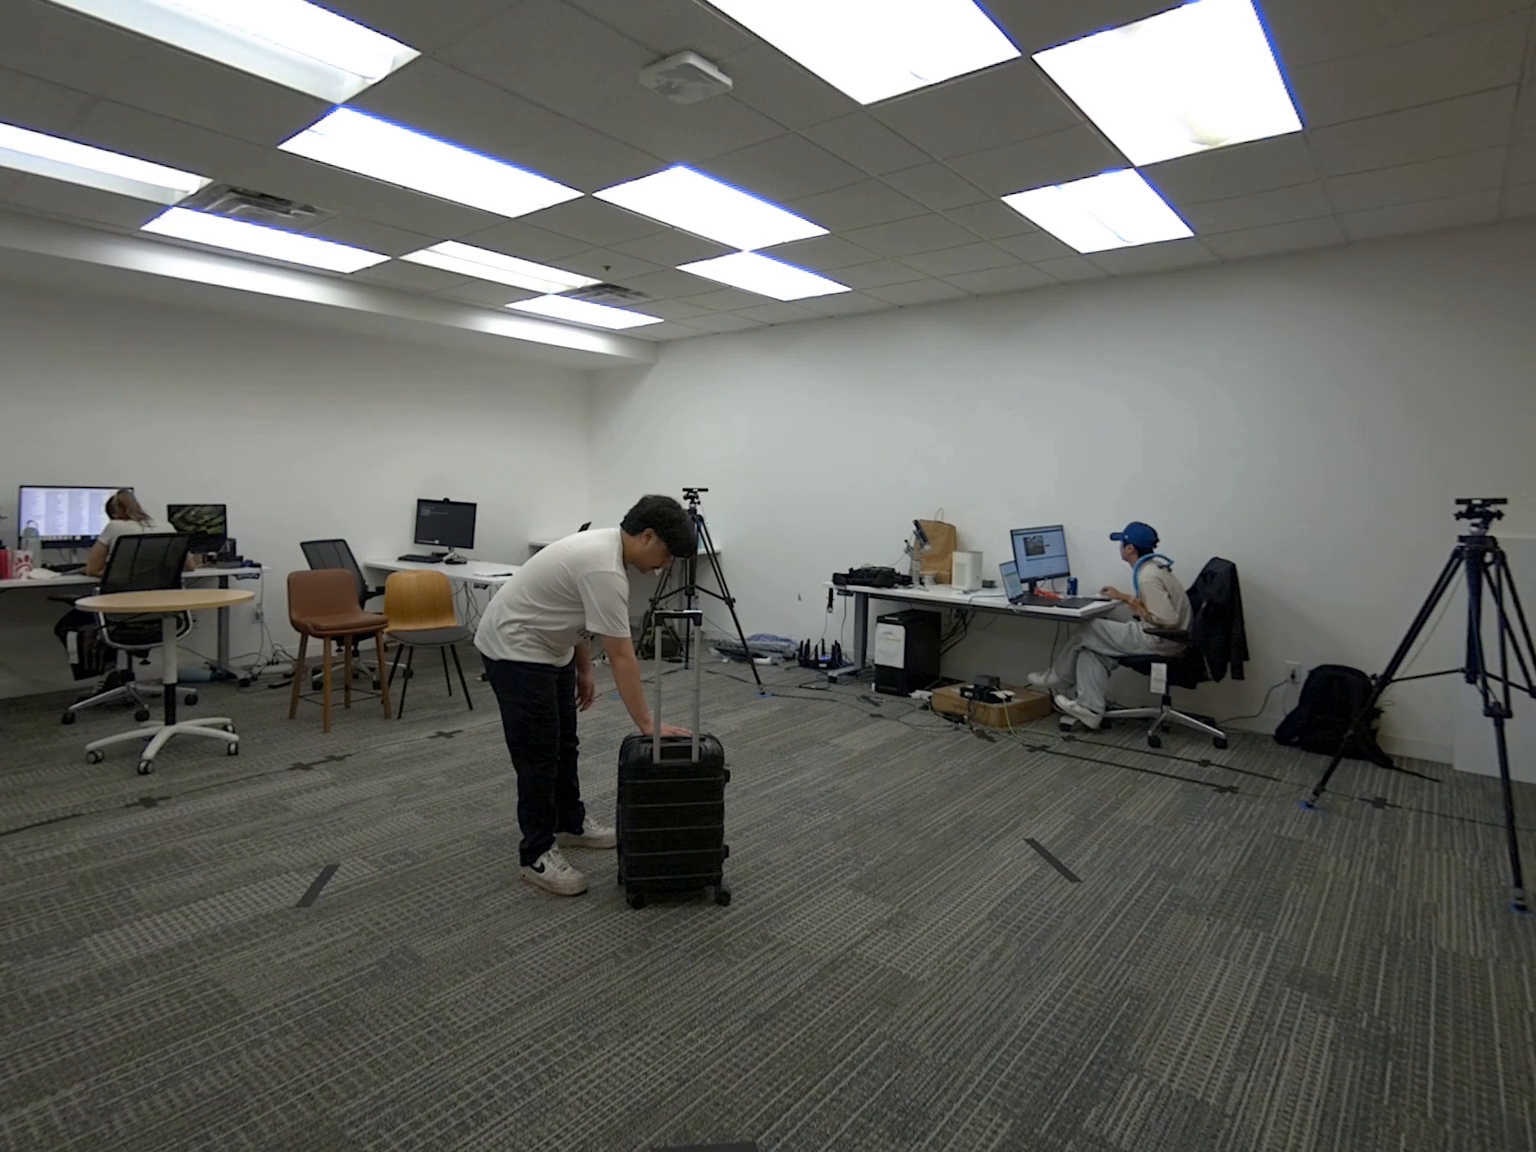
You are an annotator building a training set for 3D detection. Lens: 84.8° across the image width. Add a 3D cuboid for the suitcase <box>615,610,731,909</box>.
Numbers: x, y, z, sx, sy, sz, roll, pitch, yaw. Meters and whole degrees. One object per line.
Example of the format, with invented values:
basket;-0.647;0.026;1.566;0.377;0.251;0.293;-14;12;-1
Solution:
suitcase;-0.341;0.611;2.915;0.380;0.979;0.259;0;0;-10
